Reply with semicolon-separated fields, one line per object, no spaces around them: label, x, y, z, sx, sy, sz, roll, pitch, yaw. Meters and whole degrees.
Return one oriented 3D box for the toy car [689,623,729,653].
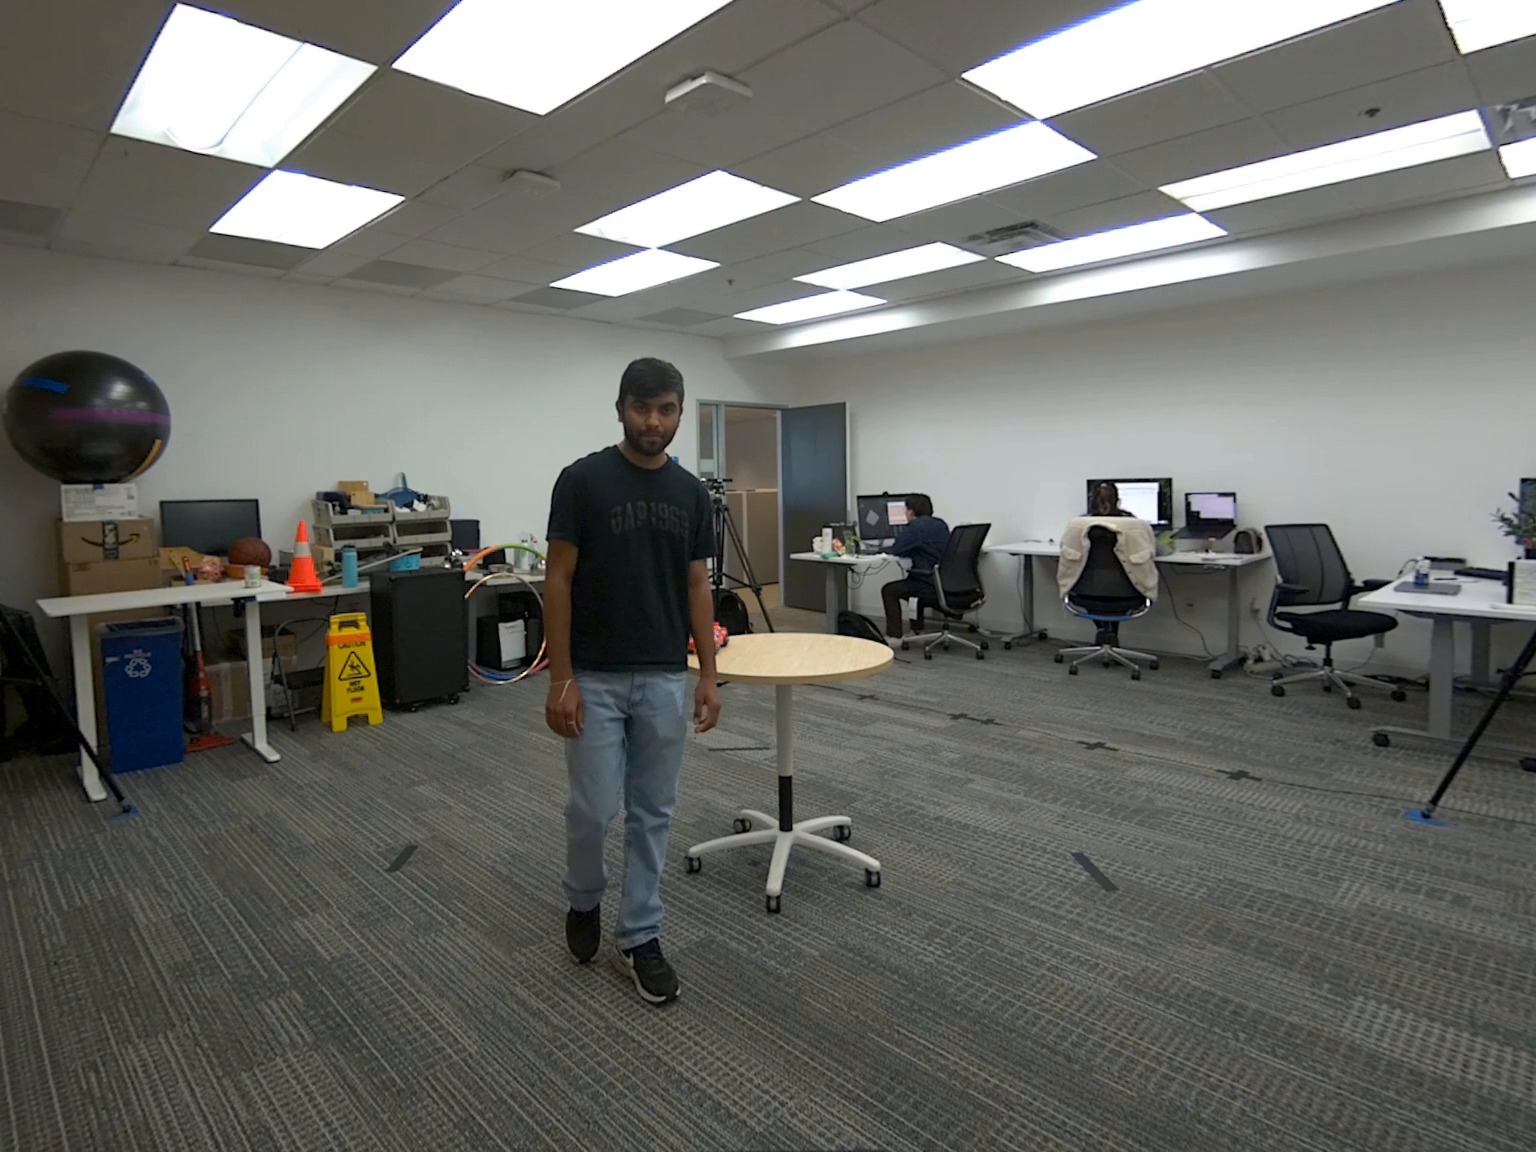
toy car;-0.213;0.231;3.112;0.132;0.082;0.255;-1;18;13
